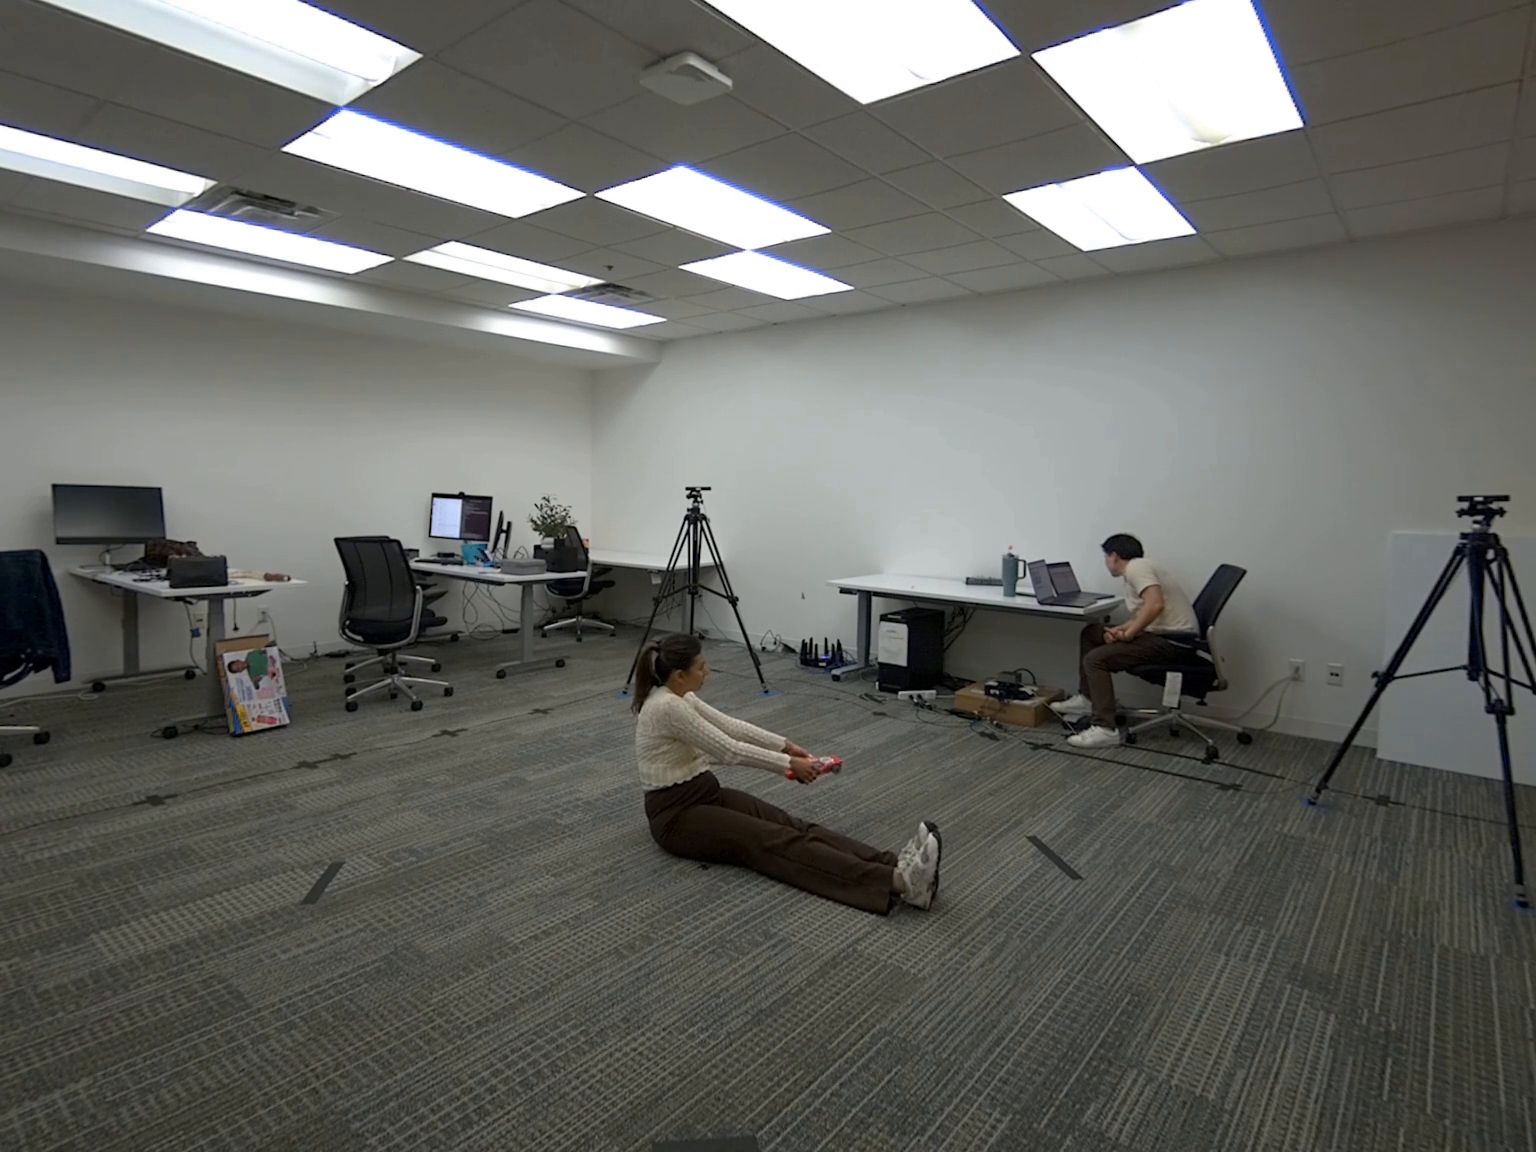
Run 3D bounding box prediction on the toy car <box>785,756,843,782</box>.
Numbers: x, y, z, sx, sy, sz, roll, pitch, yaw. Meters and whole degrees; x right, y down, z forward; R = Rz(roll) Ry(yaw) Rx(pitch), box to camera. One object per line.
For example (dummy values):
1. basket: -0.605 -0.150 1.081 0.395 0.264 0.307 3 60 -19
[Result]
1. toy car: 0.159 0.797 3.481 0.251 0.083 0.132 -2 3 -15
